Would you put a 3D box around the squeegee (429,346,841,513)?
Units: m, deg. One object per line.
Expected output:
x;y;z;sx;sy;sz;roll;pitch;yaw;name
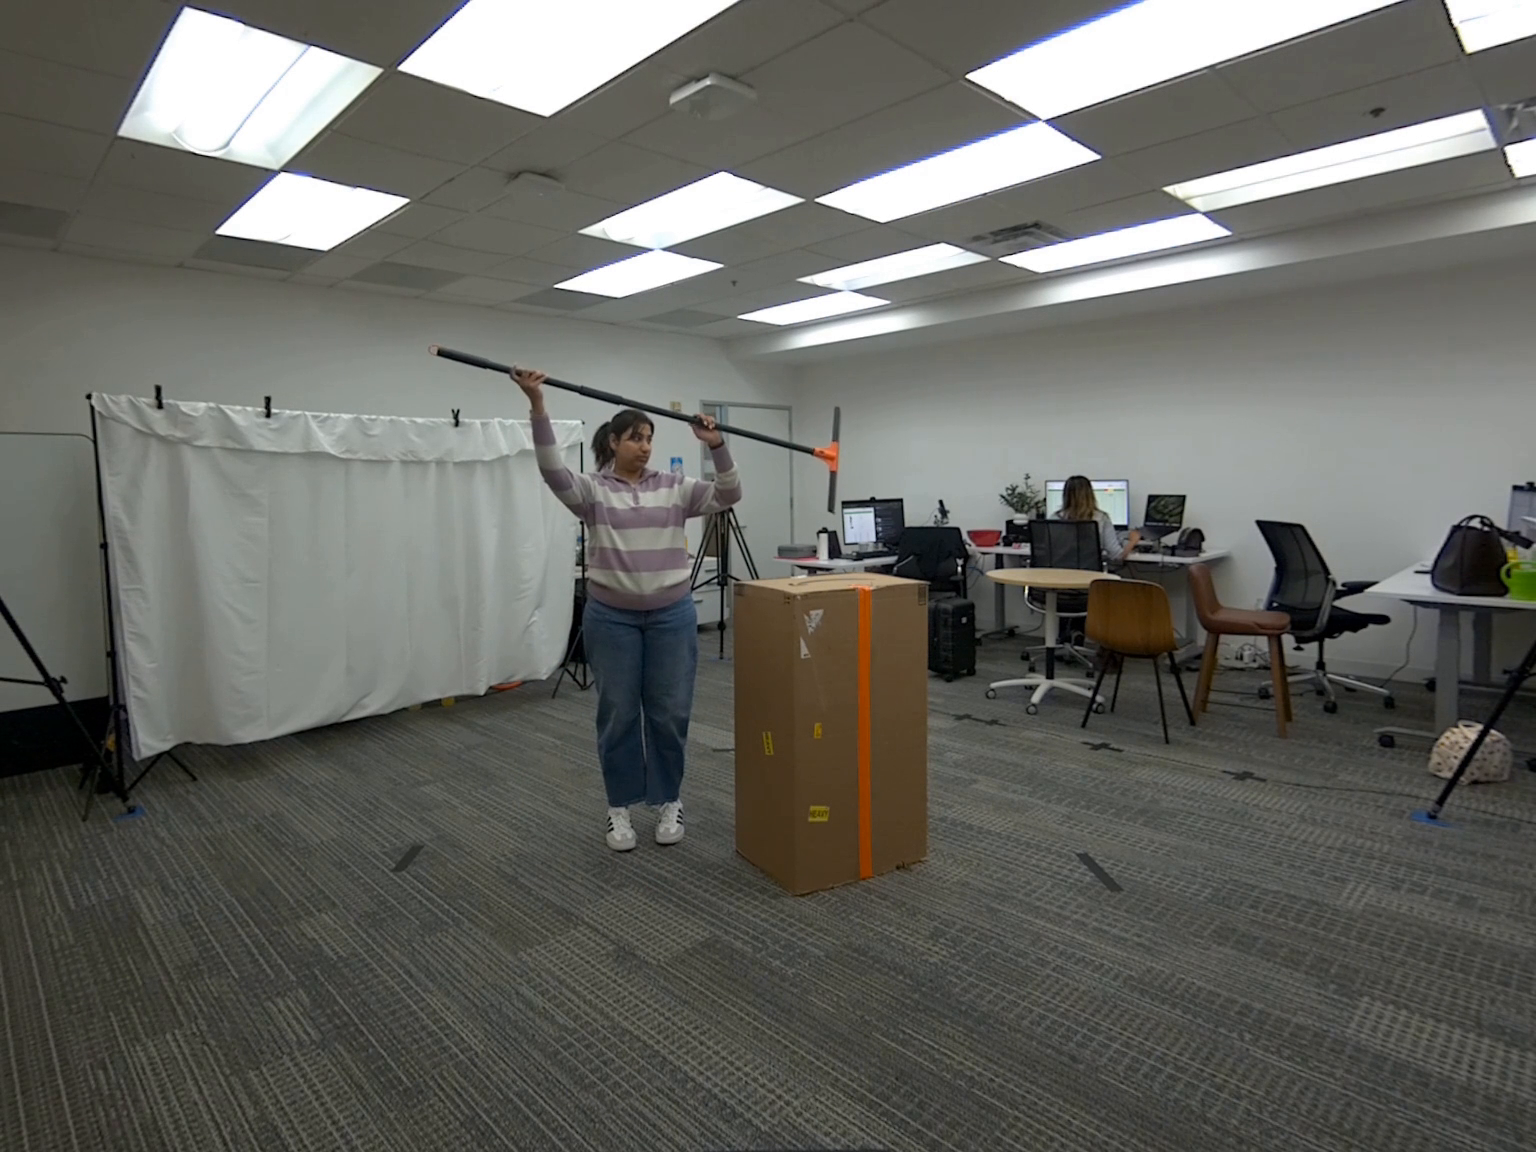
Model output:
-0.409;-0.587;3.039;1.504;0.443;0.053;12;-17;-20;squeegee
